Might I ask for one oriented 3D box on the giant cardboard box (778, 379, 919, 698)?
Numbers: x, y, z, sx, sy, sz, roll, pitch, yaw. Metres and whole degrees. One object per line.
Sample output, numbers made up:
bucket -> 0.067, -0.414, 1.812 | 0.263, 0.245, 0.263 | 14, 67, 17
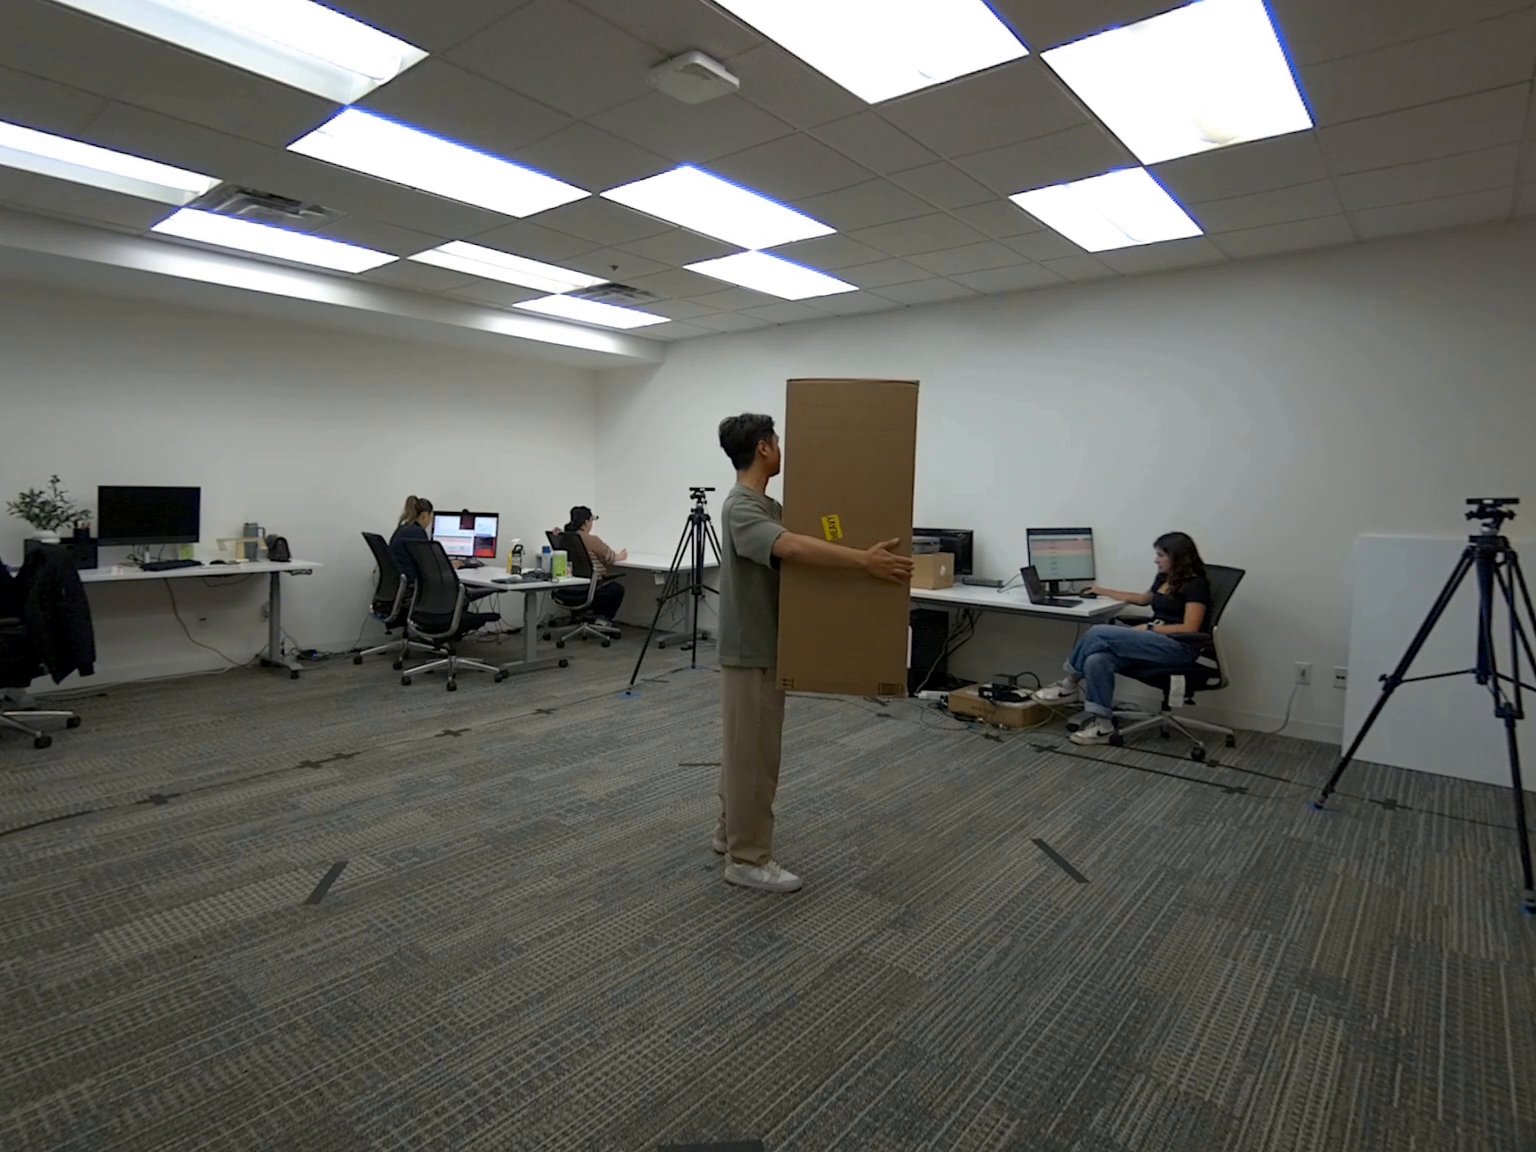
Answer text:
giant cardboard box -> 0.278, -0.157, 3.024 | 0.430, 1.022, 0.574 | 2, 4, 7
